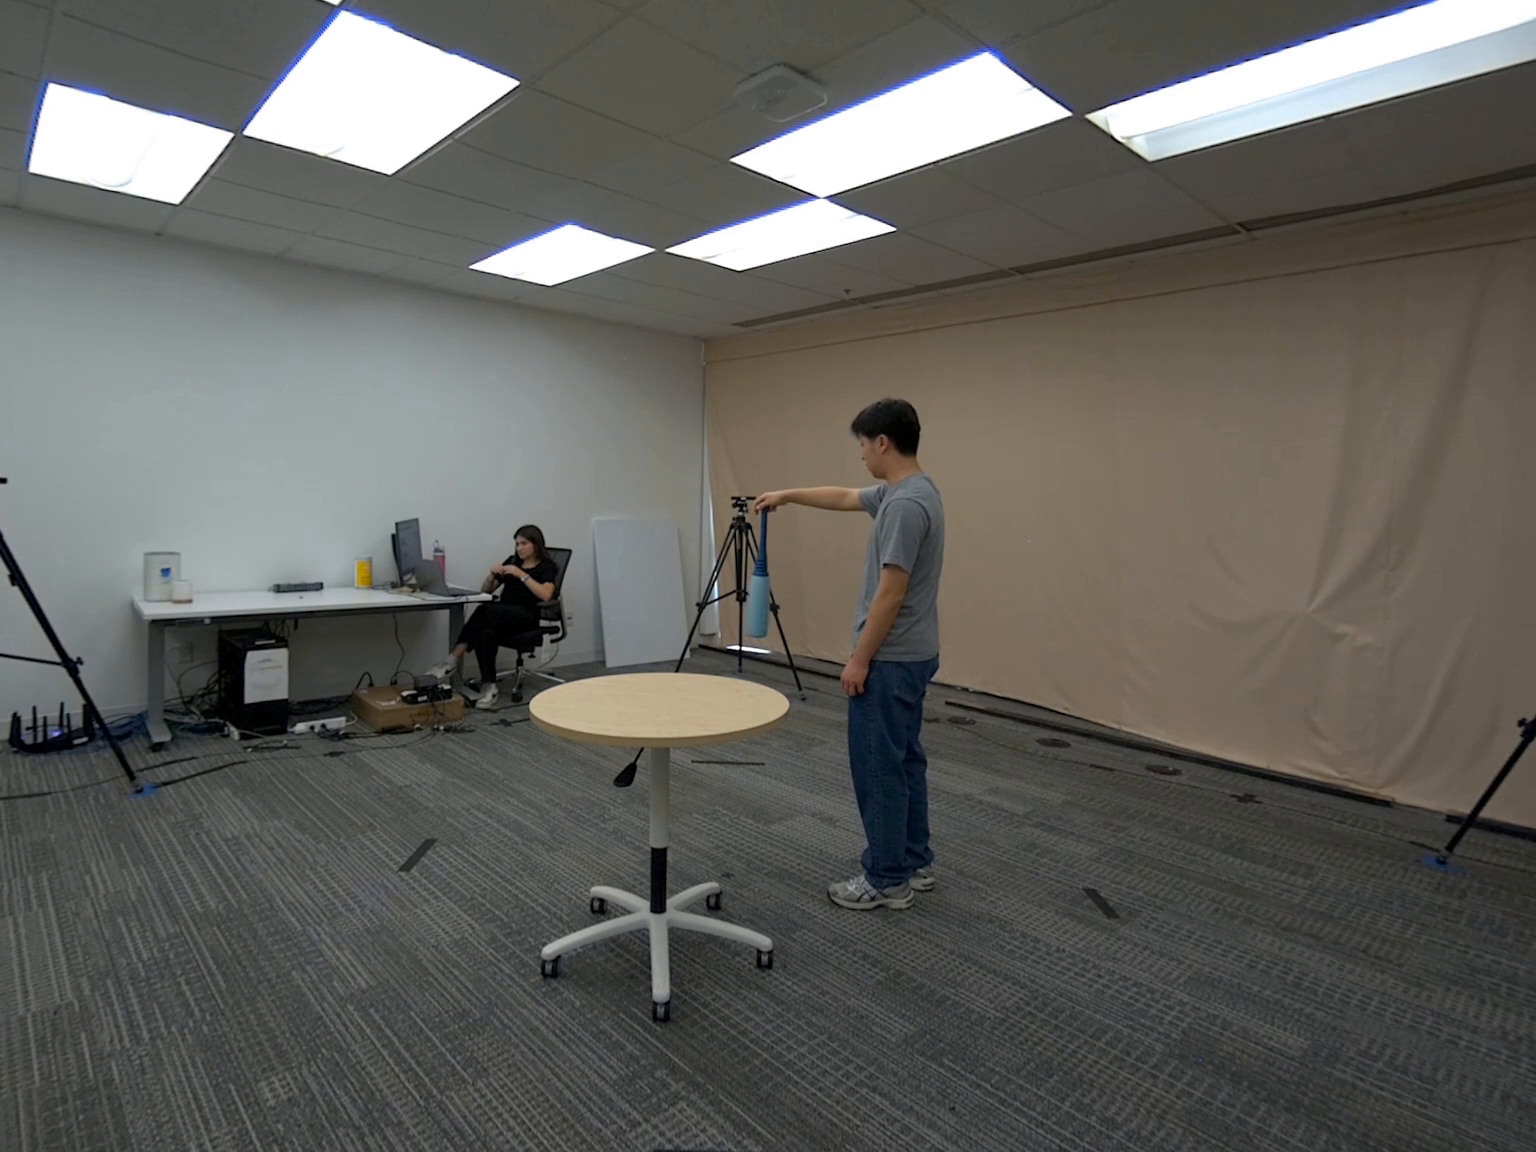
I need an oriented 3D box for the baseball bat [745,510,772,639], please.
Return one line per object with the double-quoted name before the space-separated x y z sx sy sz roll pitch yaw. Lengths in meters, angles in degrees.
"baseball bat" -0.037 -0.023 3.404 0.089 0.542 0.089 3 1 -1
